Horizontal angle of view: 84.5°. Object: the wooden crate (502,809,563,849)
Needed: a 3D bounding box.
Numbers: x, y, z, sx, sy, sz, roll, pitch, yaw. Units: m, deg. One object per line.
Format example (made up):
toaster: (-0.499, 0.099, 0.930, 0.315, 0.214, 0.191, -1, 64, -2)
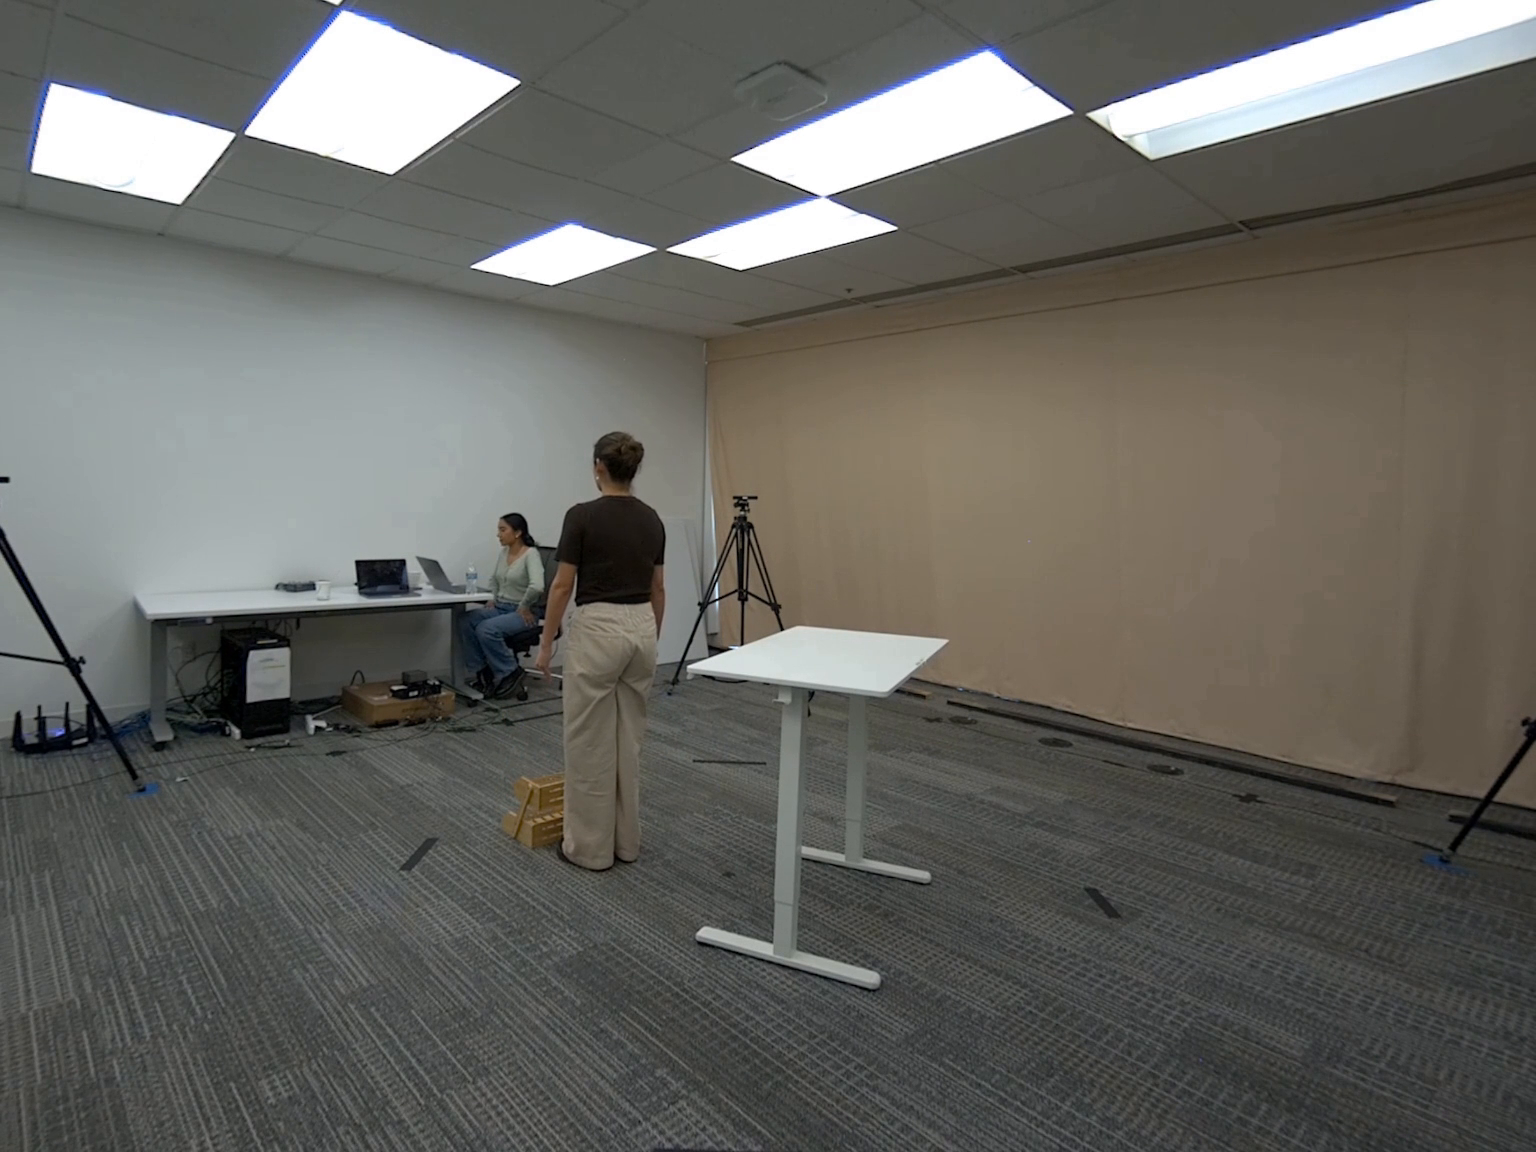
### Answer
wooden crate: (-0.896, 0.925, 3.460, 0.317, 0.272, 0.310, -3, 7, -44)
